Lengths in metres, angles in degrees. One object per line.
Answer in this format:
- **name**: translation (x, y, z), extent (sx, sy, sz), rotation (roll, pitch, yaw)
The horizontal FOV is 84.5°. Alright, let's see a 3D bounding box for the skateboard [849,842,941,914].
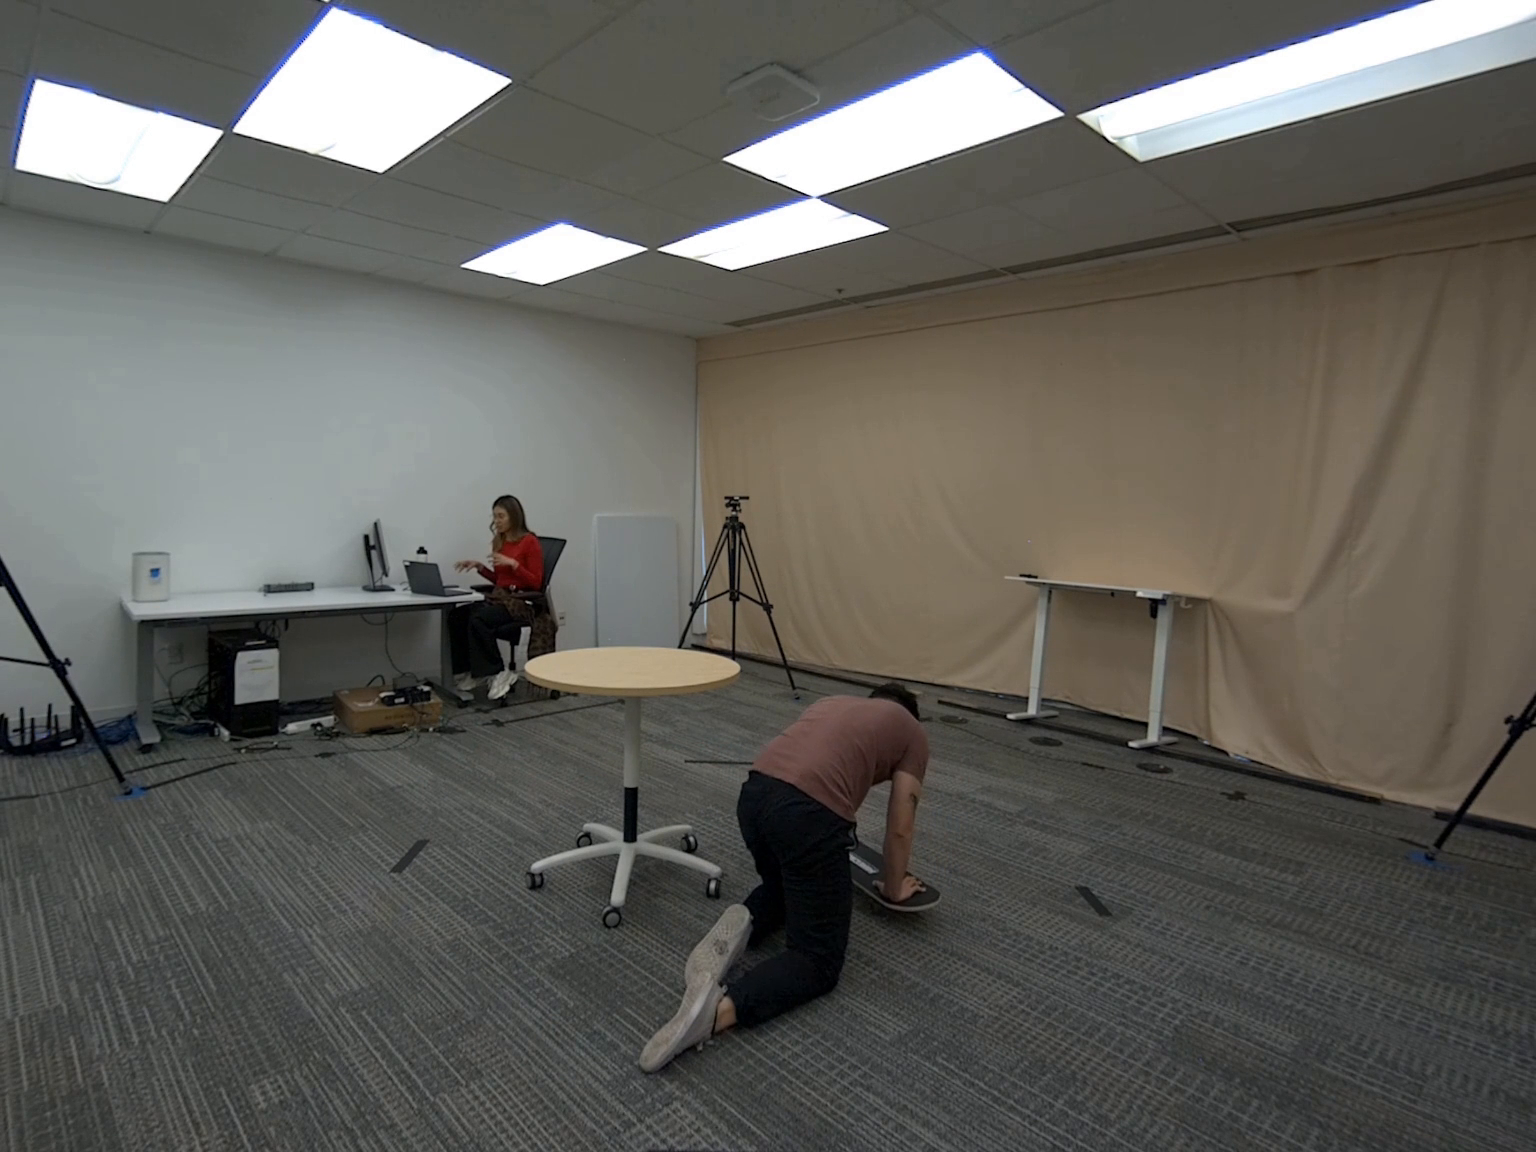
- **skateboard**: translation (0.326, 1.064, 3.050), extent (0.190, 0.110, 0.803), rotation (-5, 8, -28)
